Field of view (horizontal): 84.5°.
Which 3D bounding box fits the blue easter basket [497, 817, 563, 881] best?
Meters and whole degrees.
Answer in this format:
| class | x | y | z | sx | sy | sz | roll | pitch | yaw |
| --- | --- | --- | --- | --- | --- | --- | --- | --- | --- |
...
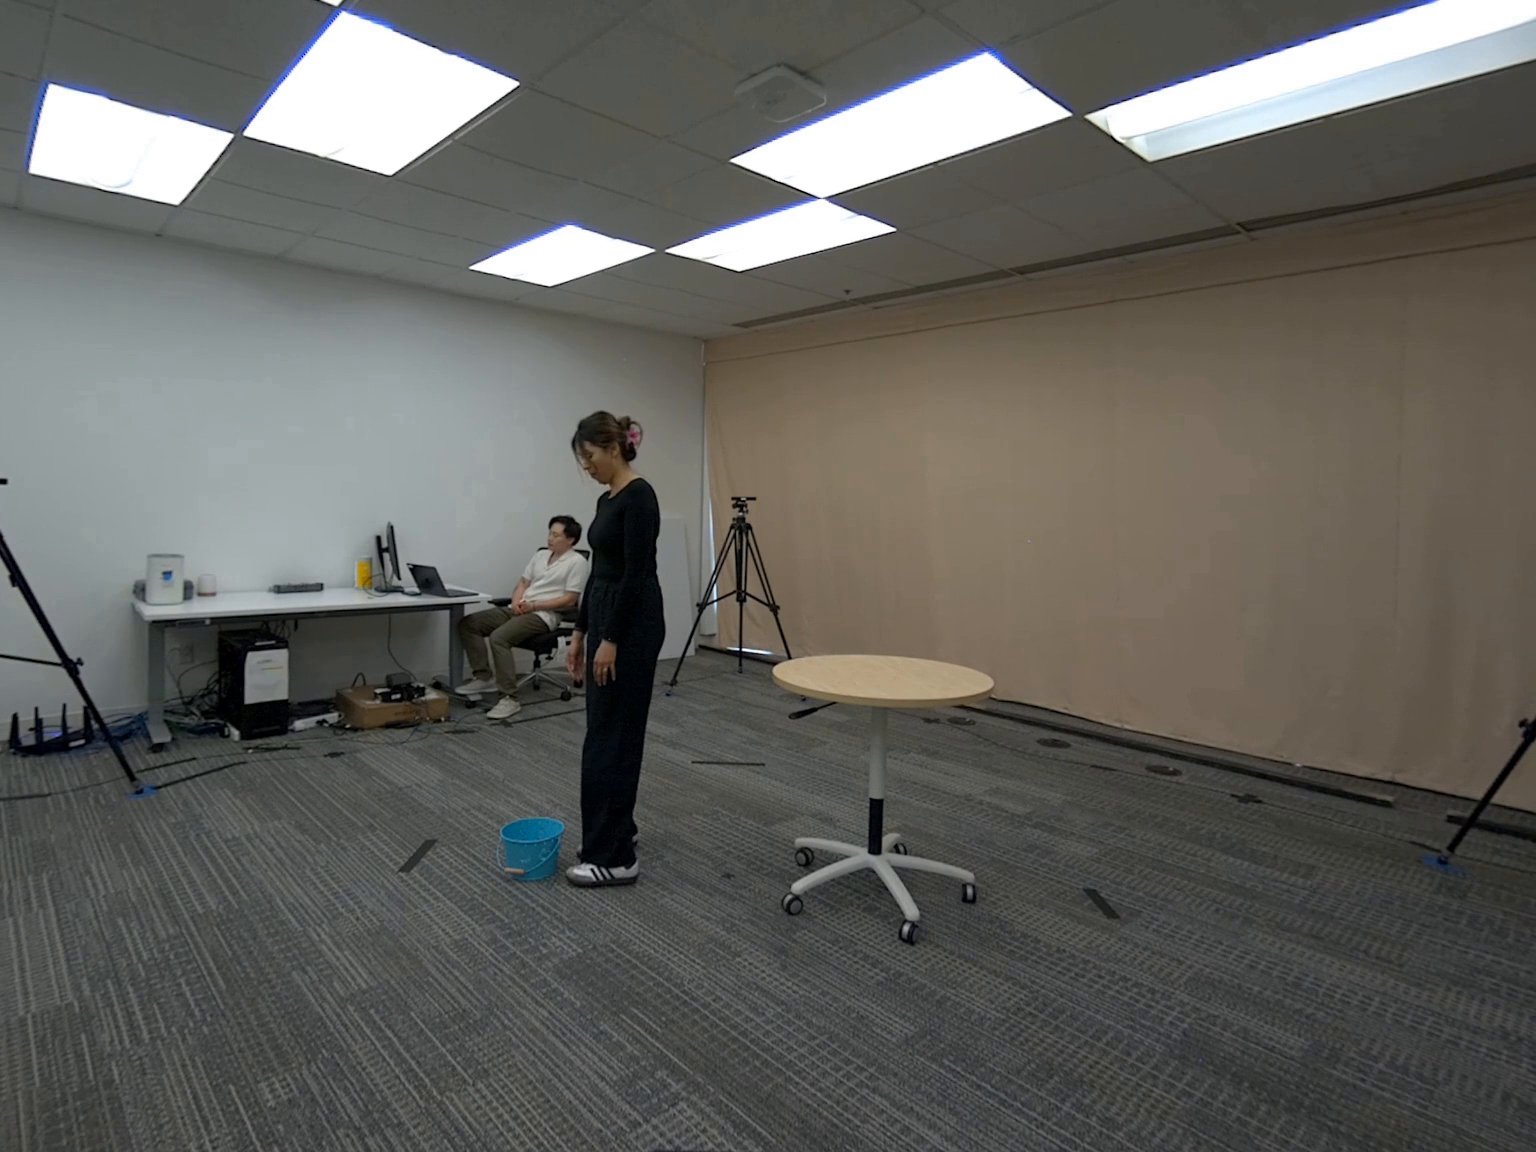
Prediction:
| class | x | y | z | sx | sy | sz | roll | pitch | yaw |
| --- | --- | --- | --- | --- | --- | --- | --- | --- | --- |
| blue easter basket | -0.878 | 1.008 | 3.118 | 0.243 | 0.155 | 0.244 | 1 | 5 | -1 |
